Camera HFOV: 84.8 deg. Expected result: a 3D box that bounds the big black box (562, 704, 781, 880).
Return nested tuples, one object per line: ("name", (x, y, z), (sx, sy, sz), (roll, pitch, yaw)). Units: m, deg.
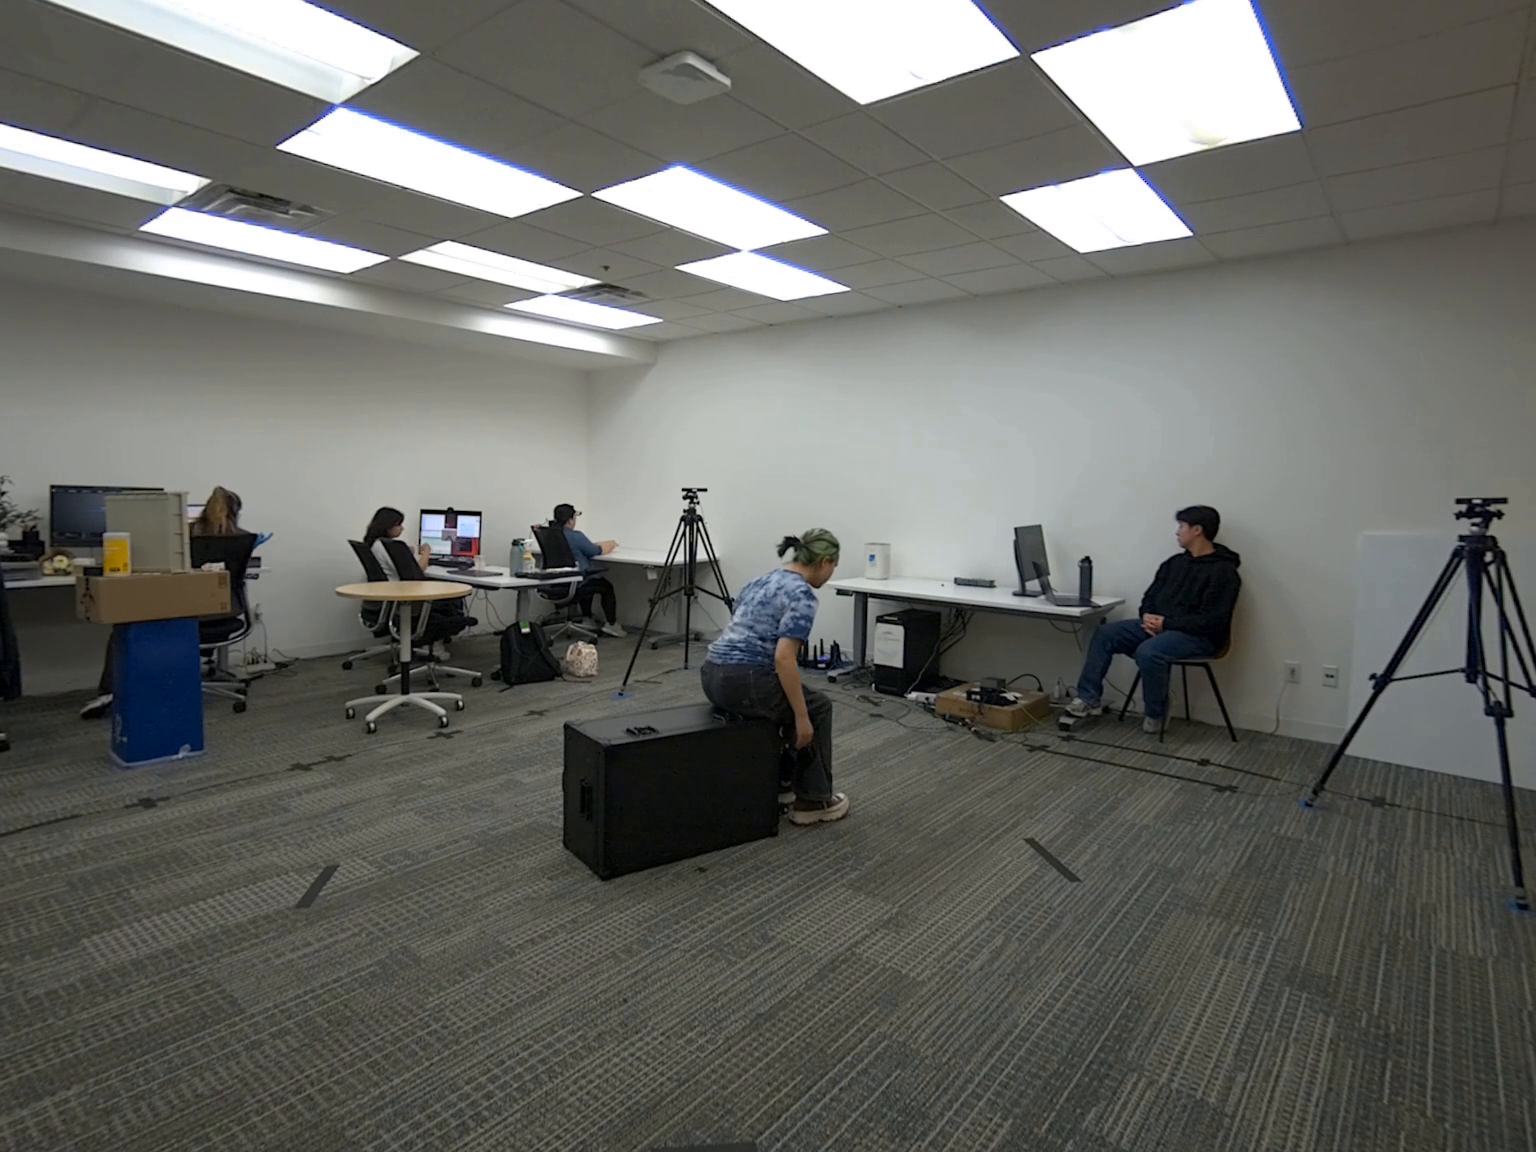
("big black box", (-0.366, 0.801, 3.369), (0.837, 0.520, 0.409), (-1, 5, -34))
